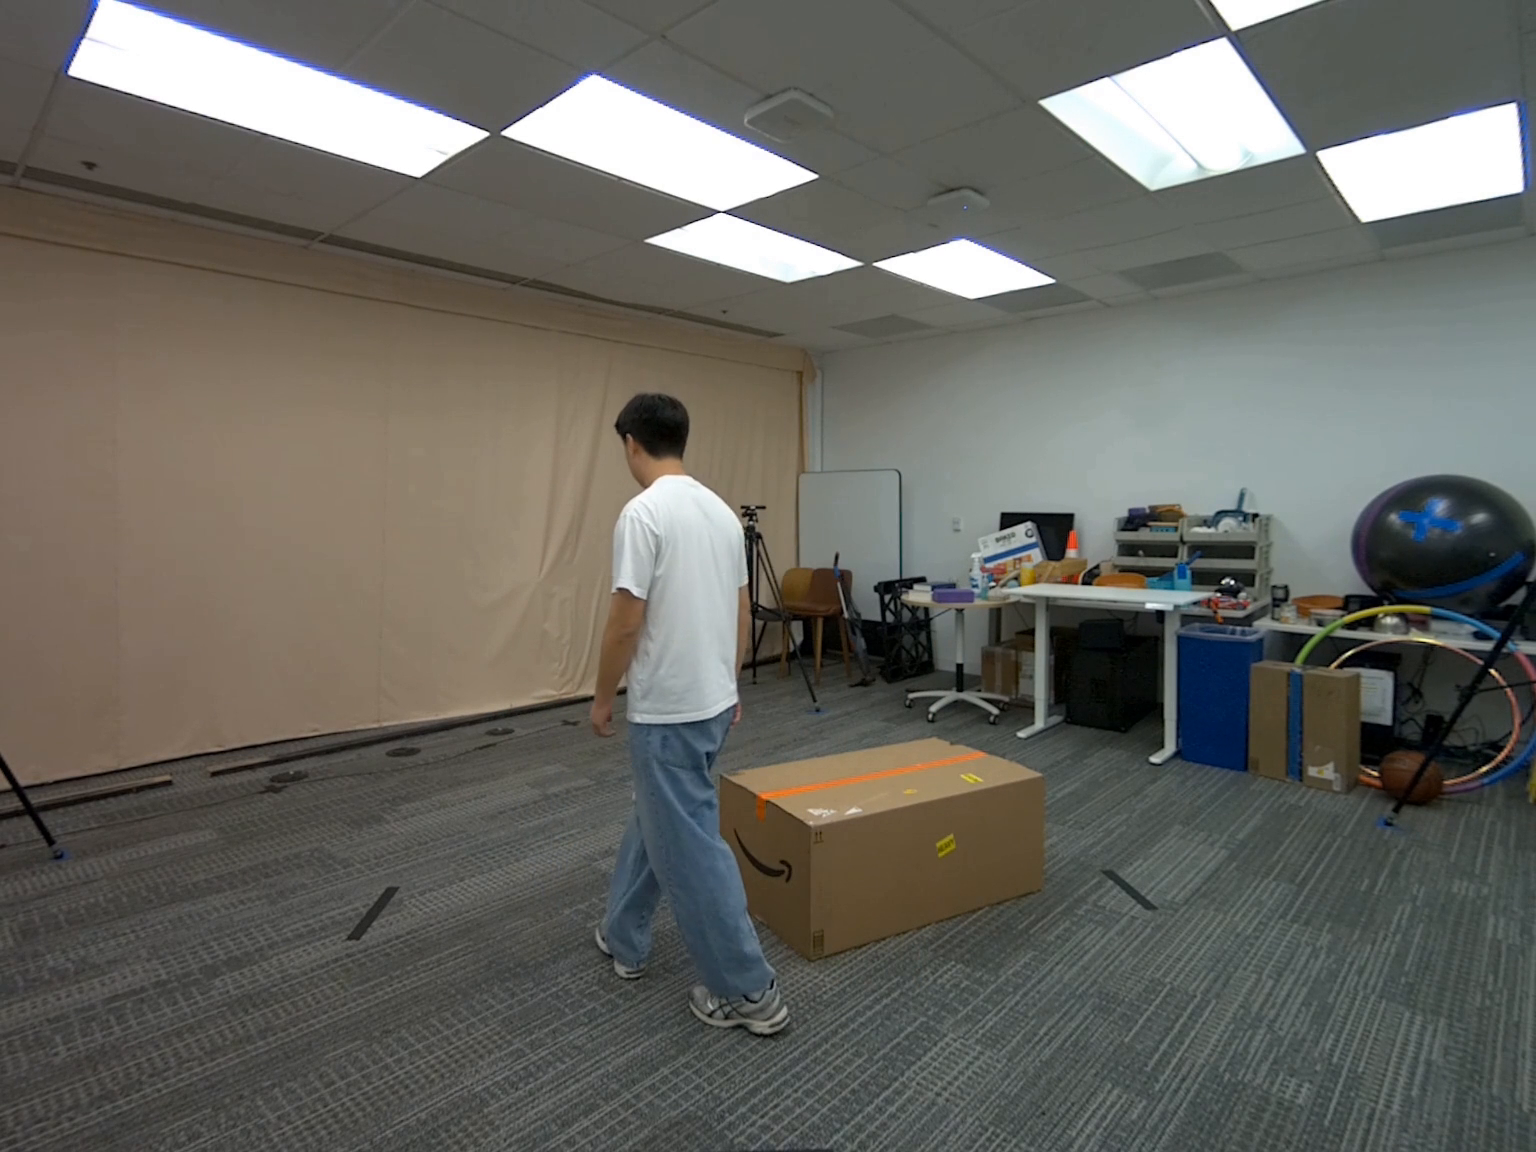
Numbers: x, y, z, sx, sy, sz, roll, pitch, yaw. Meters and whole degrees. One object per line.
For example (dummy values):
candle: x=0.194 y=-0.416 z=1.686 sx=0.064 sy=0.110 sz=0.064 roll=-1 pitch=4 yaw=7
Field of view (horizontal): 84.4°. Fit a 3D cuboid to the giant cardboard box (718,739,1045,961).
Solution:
giant cardboard box: x=0.412 y=0.922 z=3.044 sx=0.999 sy=0.425 sz=0.594 roll=-3 pitch=5 yaw=-30
